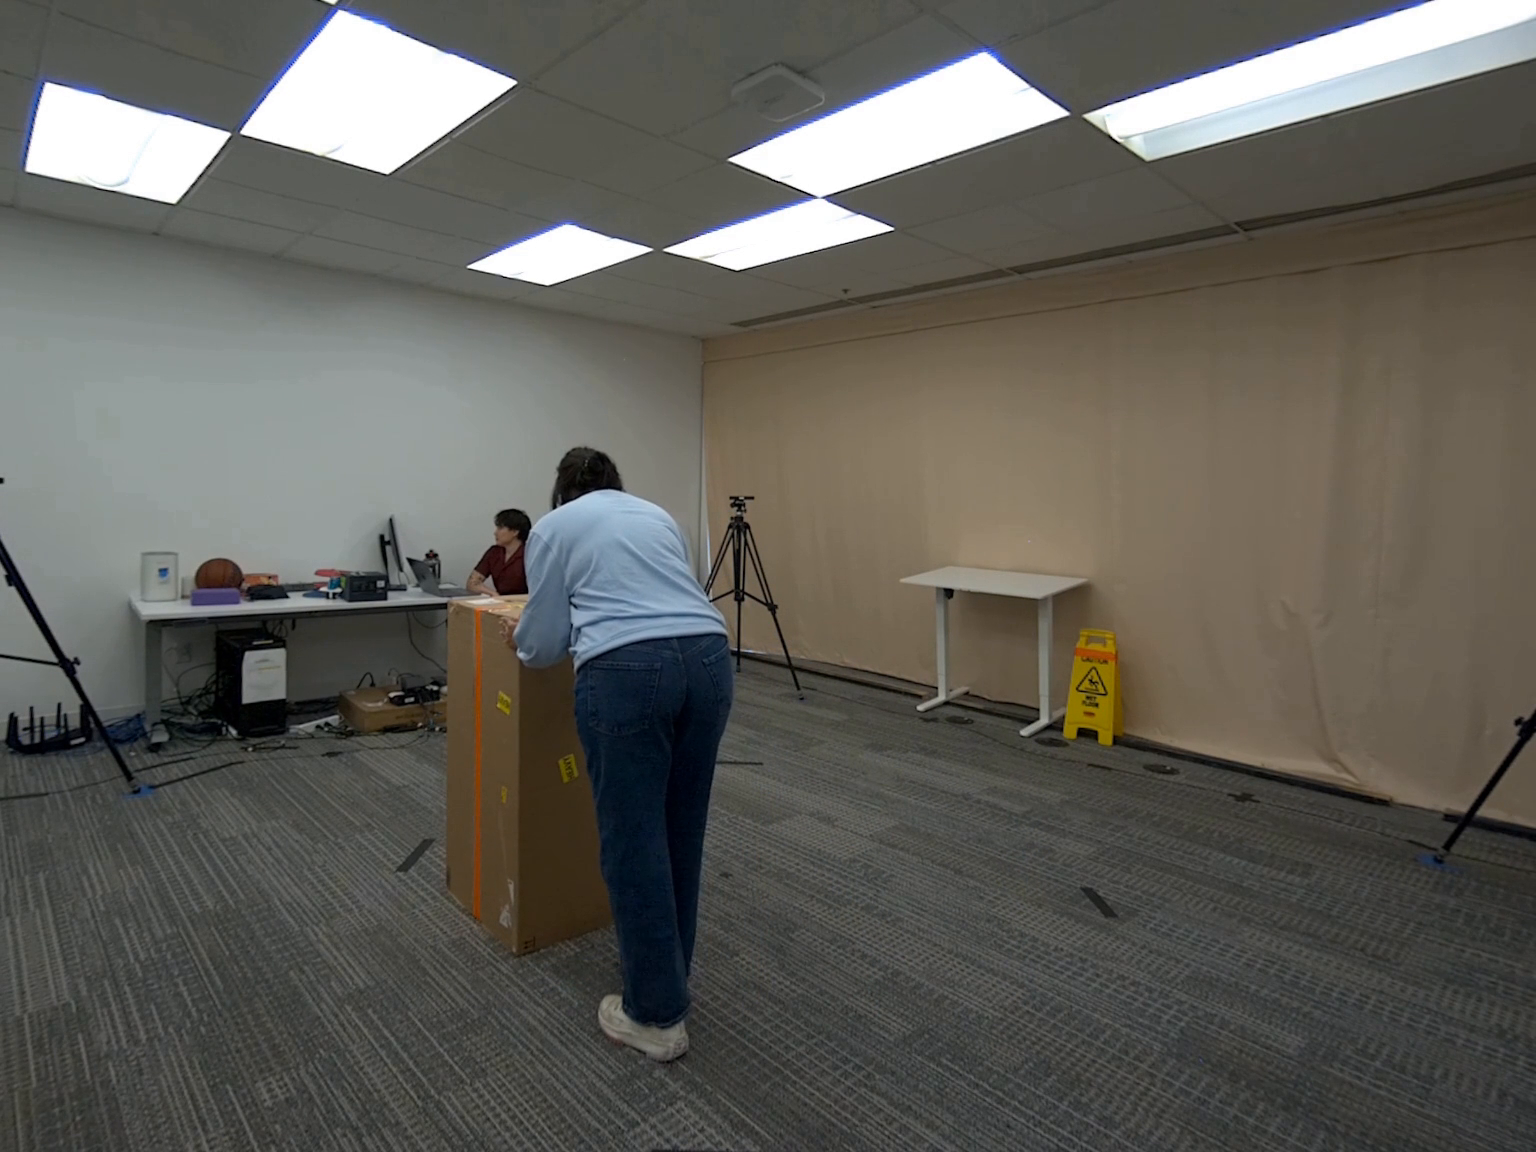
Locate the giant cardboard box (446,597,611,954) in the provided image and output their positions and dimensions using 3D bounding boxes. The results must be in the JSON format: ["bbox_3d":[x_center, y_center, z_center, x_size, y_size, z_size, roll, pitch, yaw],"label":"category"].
[{"bbox_3d":[-0.789,0.610,2.851,0.416,1.023,0.592,-1,4,-41],"label":"giant cardboard box"}]
